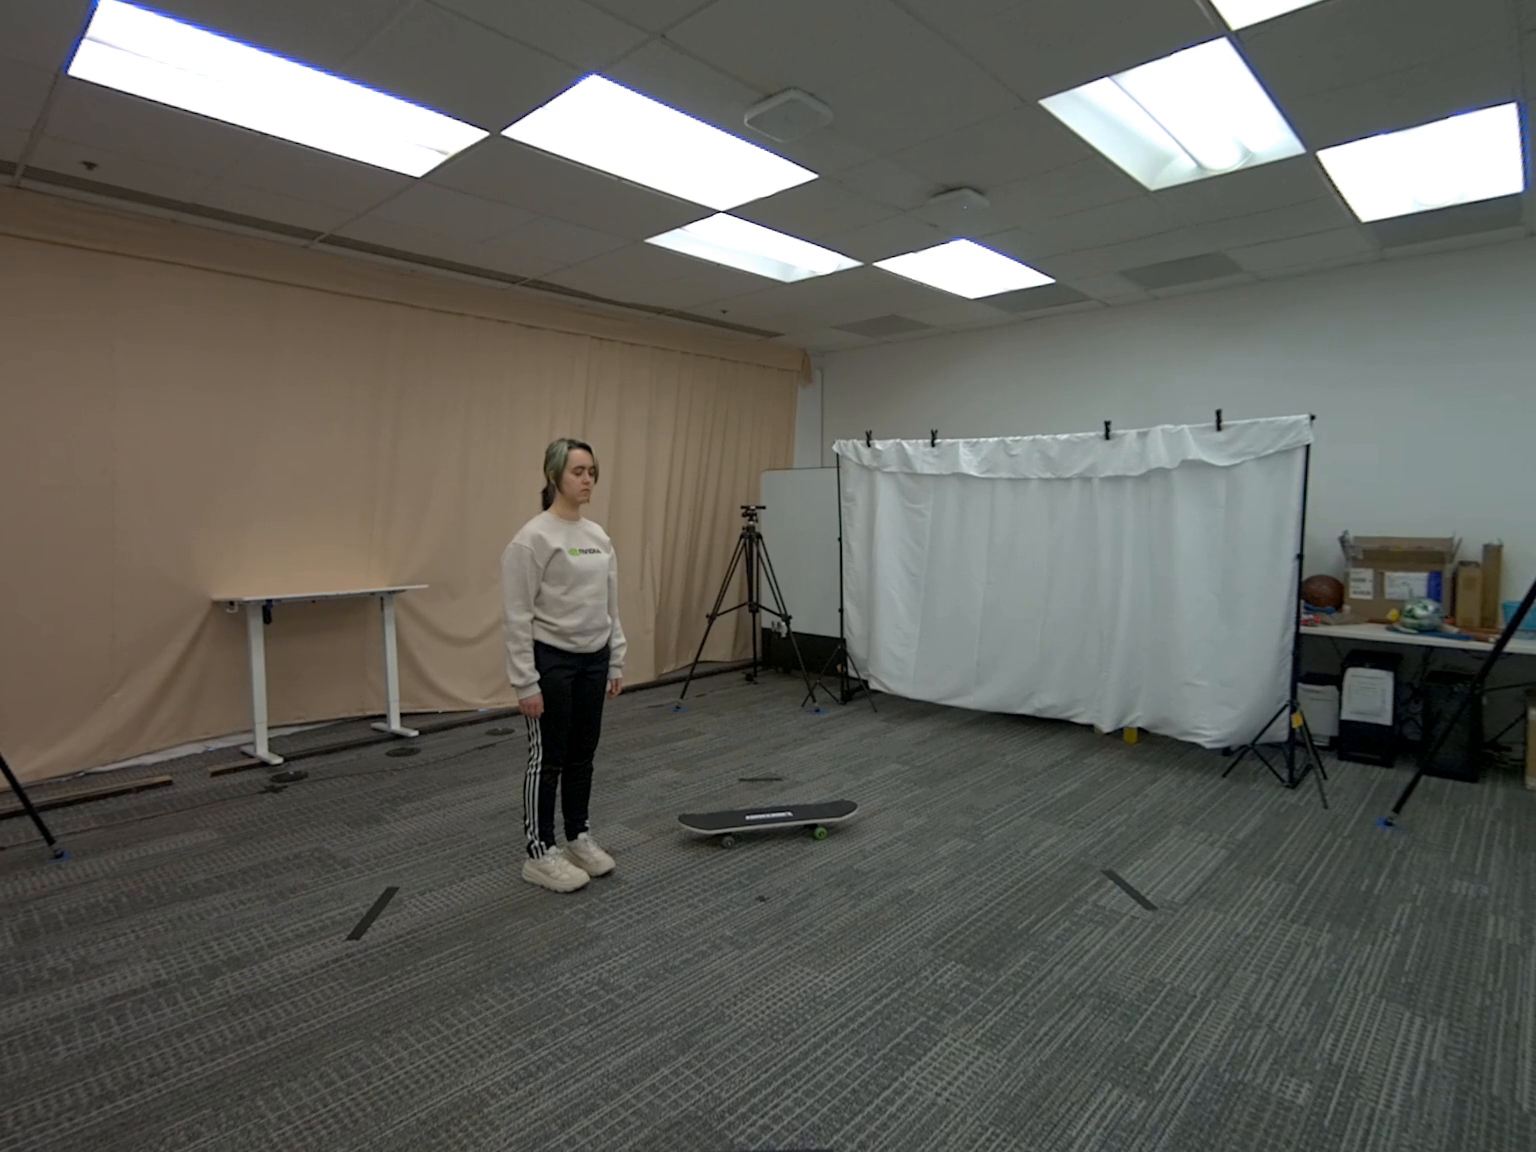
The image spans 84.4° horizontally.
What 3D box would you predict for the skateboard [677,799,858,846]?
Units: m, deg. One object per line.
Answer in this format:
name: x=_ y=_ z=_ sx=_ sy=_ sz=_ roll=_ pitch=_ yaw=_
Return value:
skateboard: x=0.005 y=1.040 z=3.543 sx=0.774 sy=0.110 sz=0.197 roll=-1 pitch=5 yaw=-13
